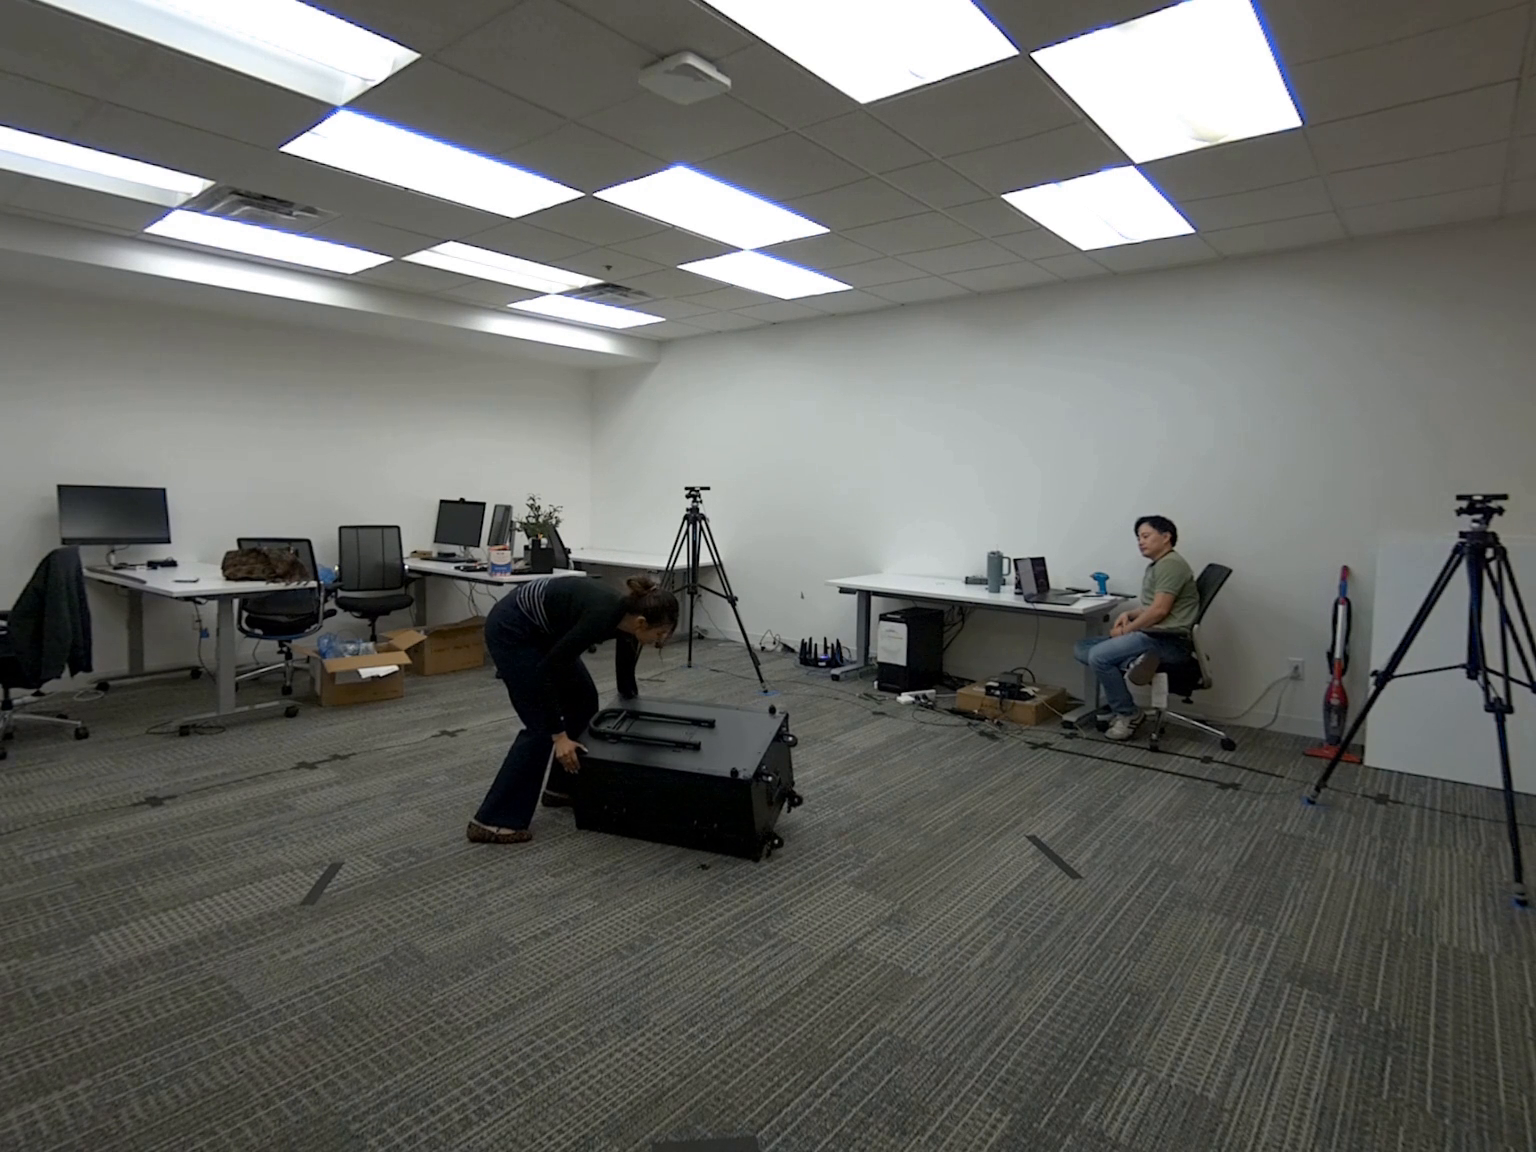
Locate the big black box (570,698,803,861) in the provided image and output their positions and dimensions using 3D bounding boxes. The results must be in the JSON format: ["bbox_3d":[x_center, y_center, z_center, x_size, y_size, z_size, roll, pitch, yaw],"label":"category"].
[{"bbox_3d":[-0.314,0.779,3.441,0.880,0.389,0.520,3,21,20],"label":"big black box"}]
